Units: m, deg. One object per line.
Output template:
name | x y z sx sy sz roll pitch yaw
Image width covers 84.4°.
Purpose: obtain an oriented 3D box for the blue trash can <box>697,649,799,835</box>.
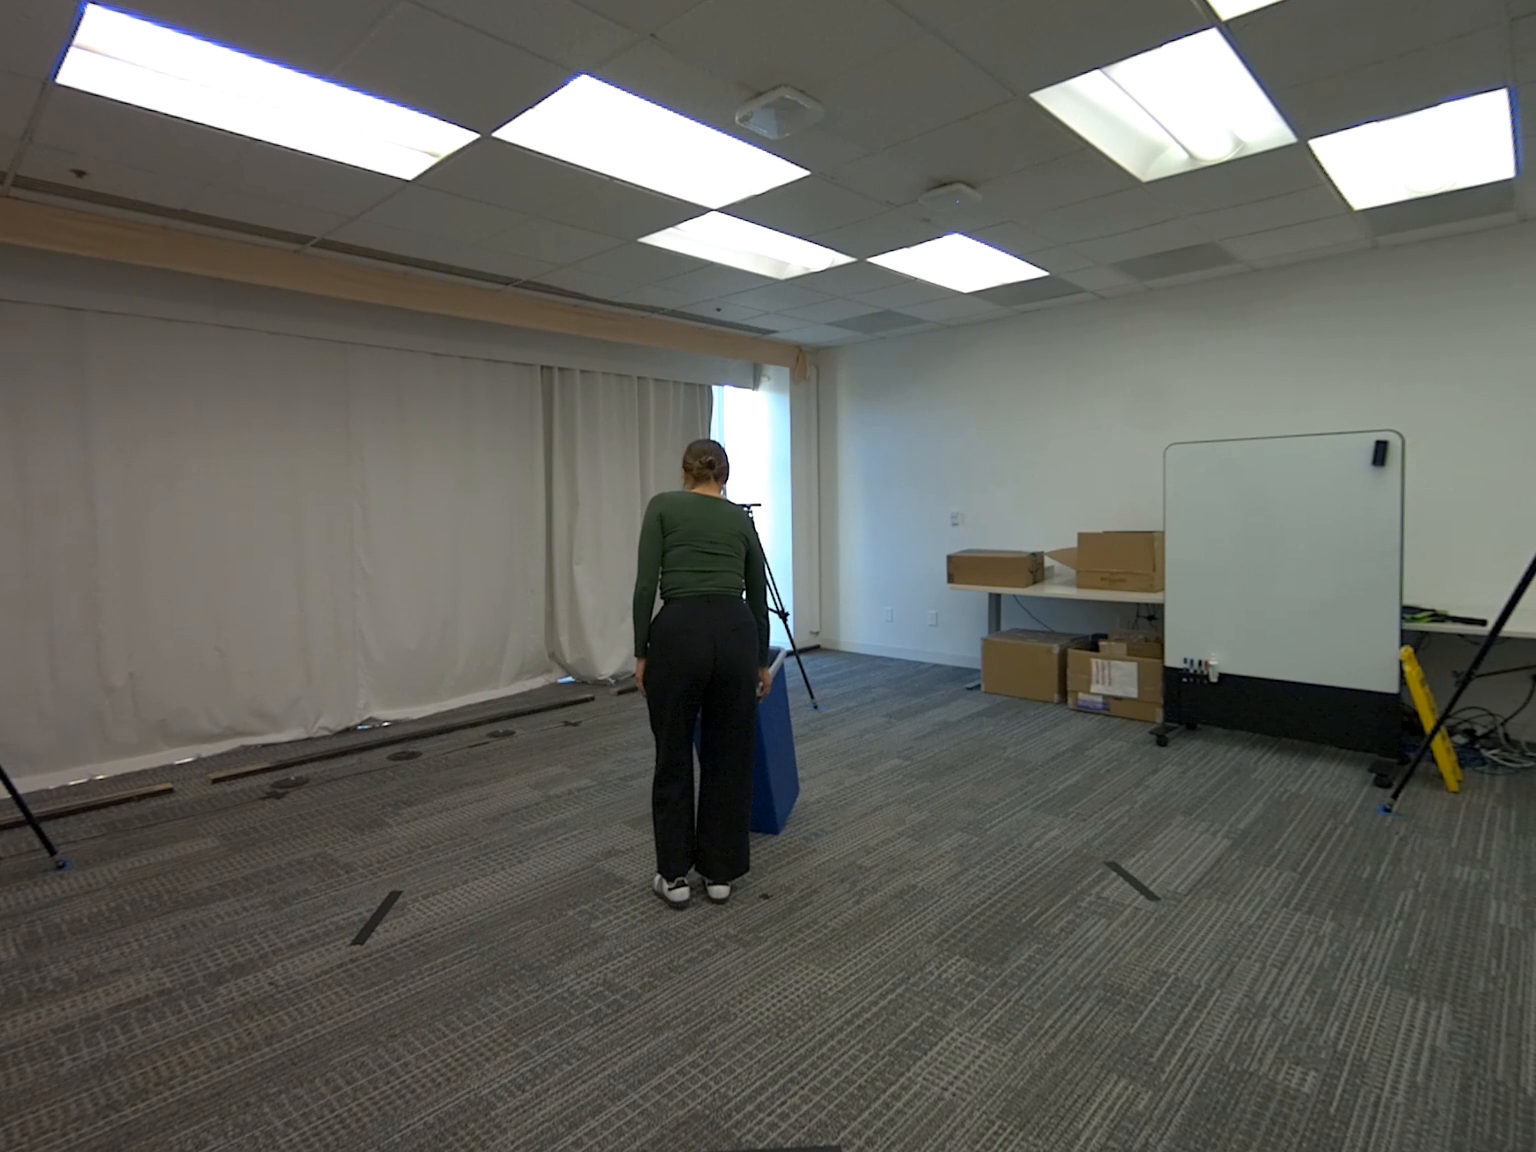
blue trash can | -0.094 0.697 3.597 0.387 0.702 0.371 0 23 23
